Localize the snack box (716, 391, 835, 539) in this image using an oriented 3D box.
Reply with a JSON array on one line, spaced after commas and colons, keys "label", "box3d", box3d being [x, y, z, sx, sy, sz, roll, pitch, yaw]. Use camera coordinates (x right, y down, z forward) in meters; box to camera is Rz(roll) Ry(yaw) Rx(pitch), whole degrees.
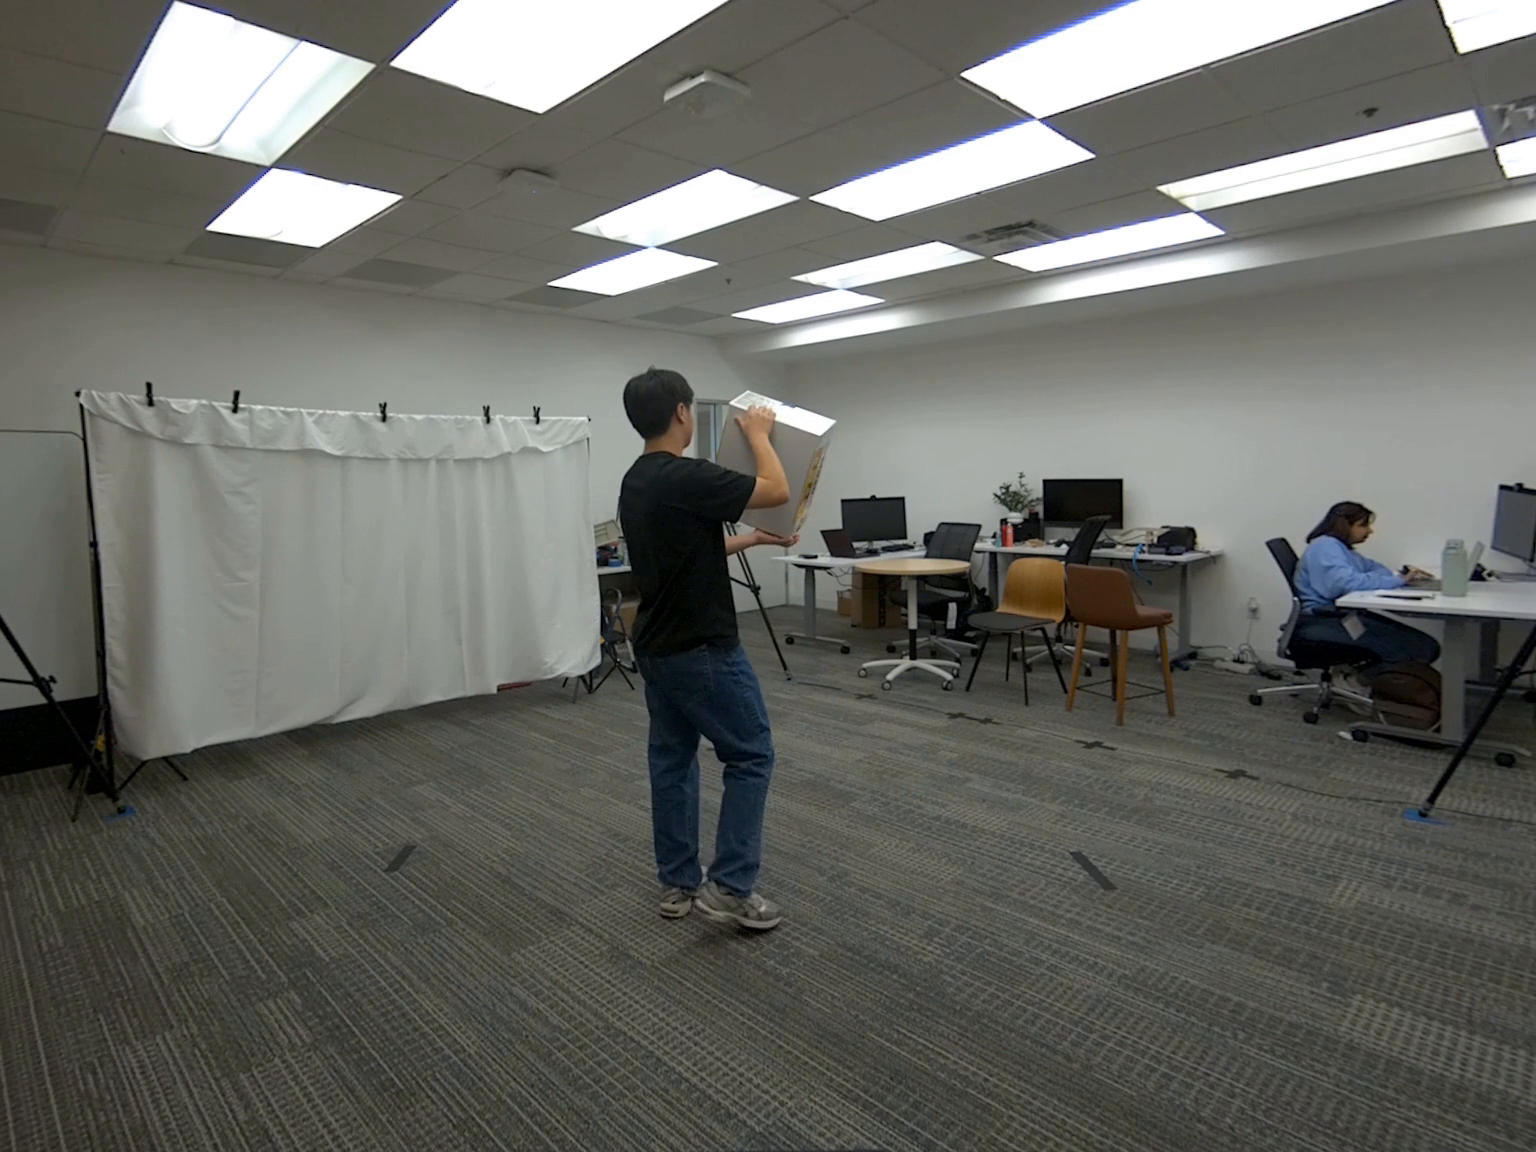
[{"label": "snack box", "box3d": [0.006, -0.389, 3.004, 0.346, 0.399, 0.205, 21, 27, 12]}]
